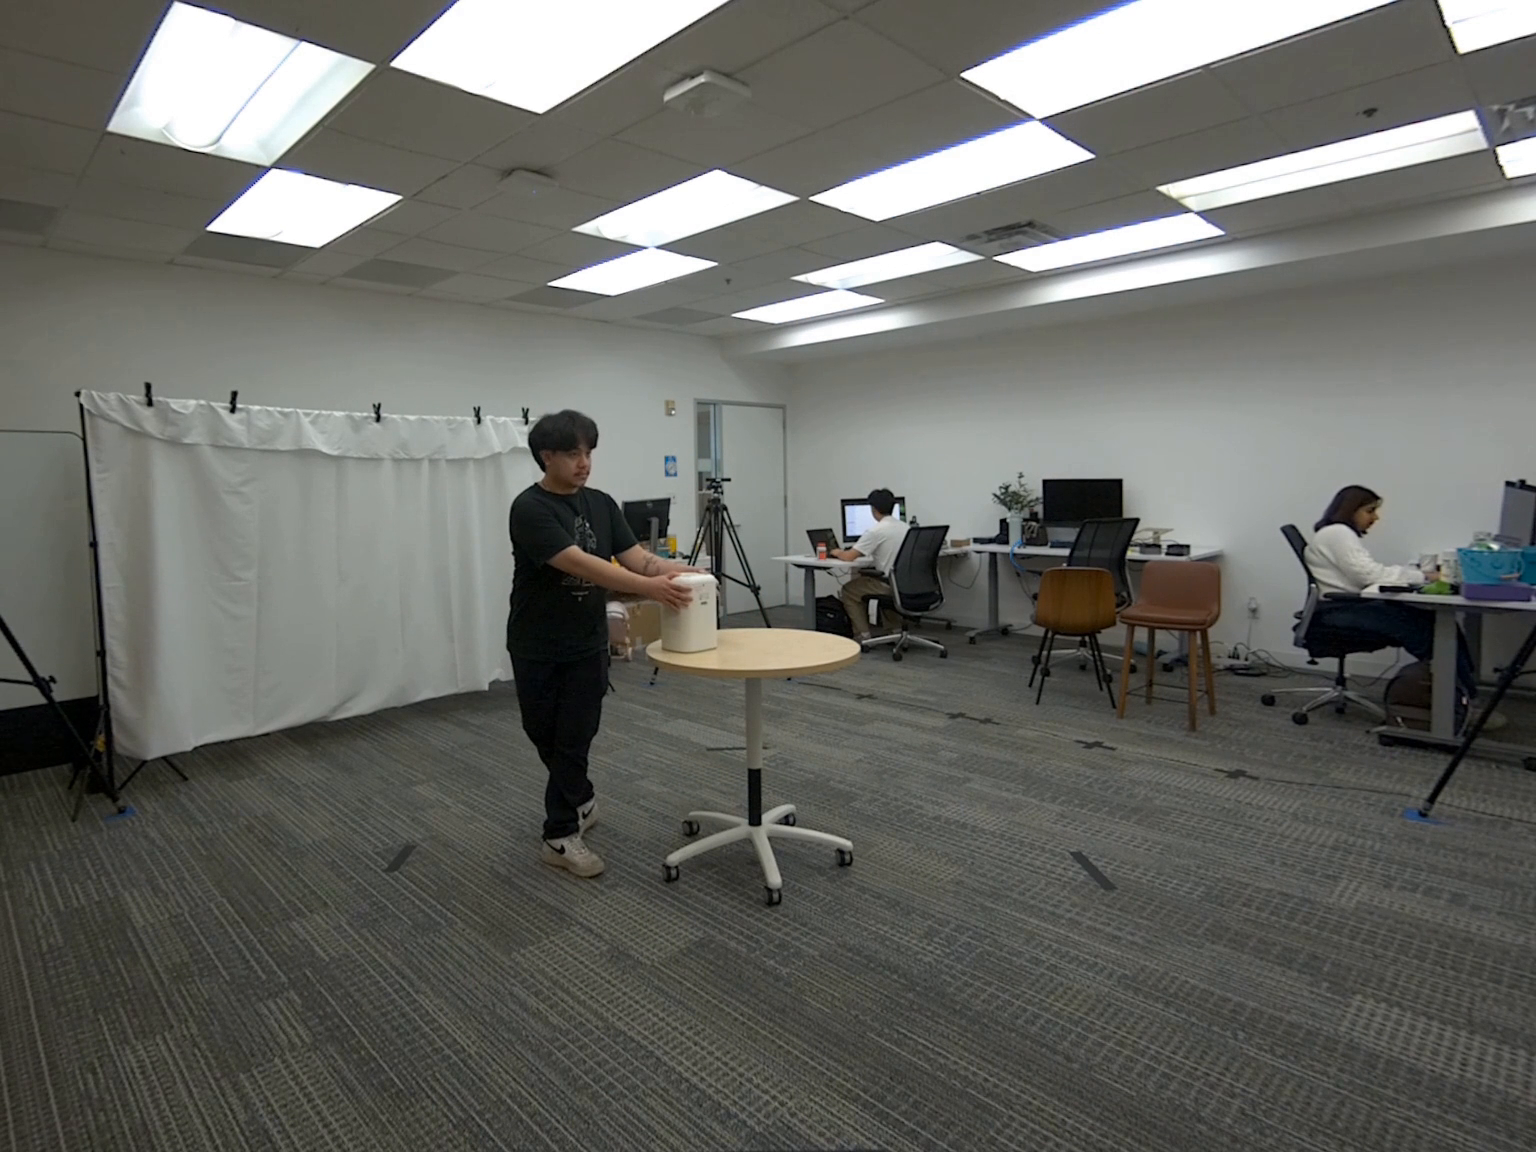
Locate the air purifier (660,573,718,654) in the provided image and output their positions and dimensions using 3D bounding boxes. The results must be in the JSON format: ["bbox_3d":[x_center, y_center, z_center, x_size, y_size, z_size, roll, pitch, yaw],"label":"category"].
[{"bbox_3d":[-0.276,0.127,3.052,0.166,0.264,0.177,-6,5,-43],"label":"air purifier"}]
